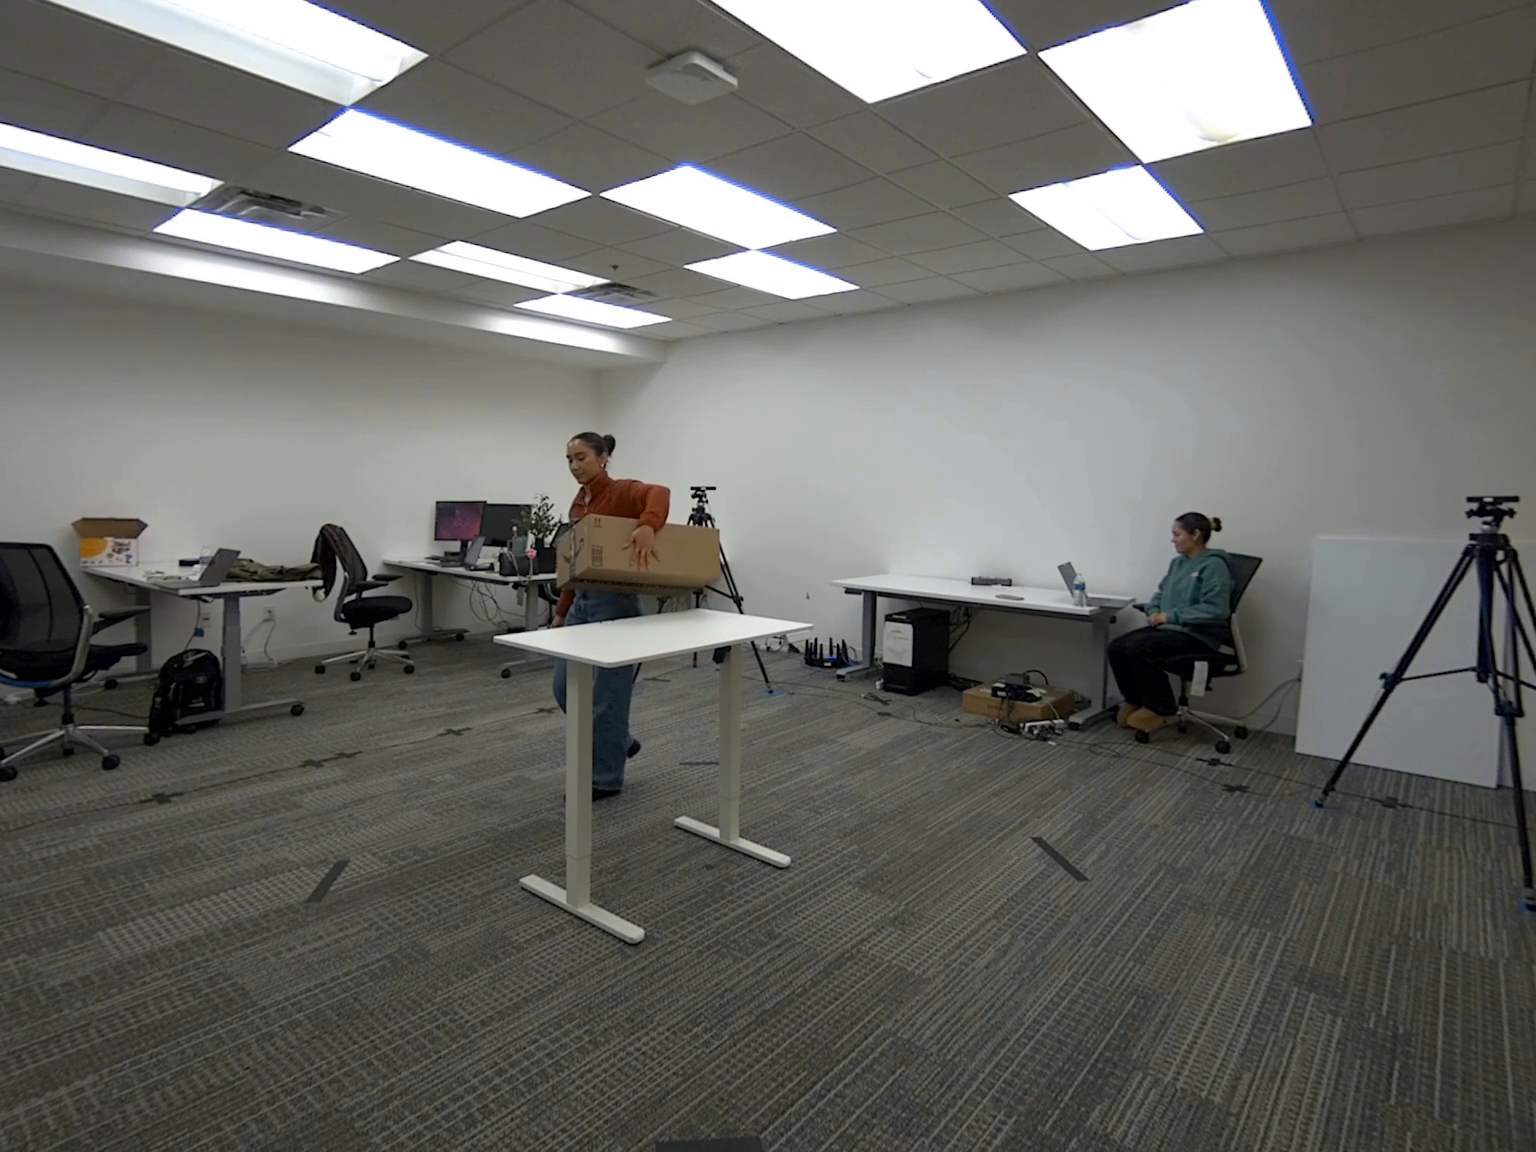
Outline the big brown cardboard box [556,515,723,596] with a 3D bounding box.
[{"bbox_3d":[-0.560,-0.078,3.524,0.572,0.236,0.424,7,-15,-28],"label":"big brown cardboard box"}]
